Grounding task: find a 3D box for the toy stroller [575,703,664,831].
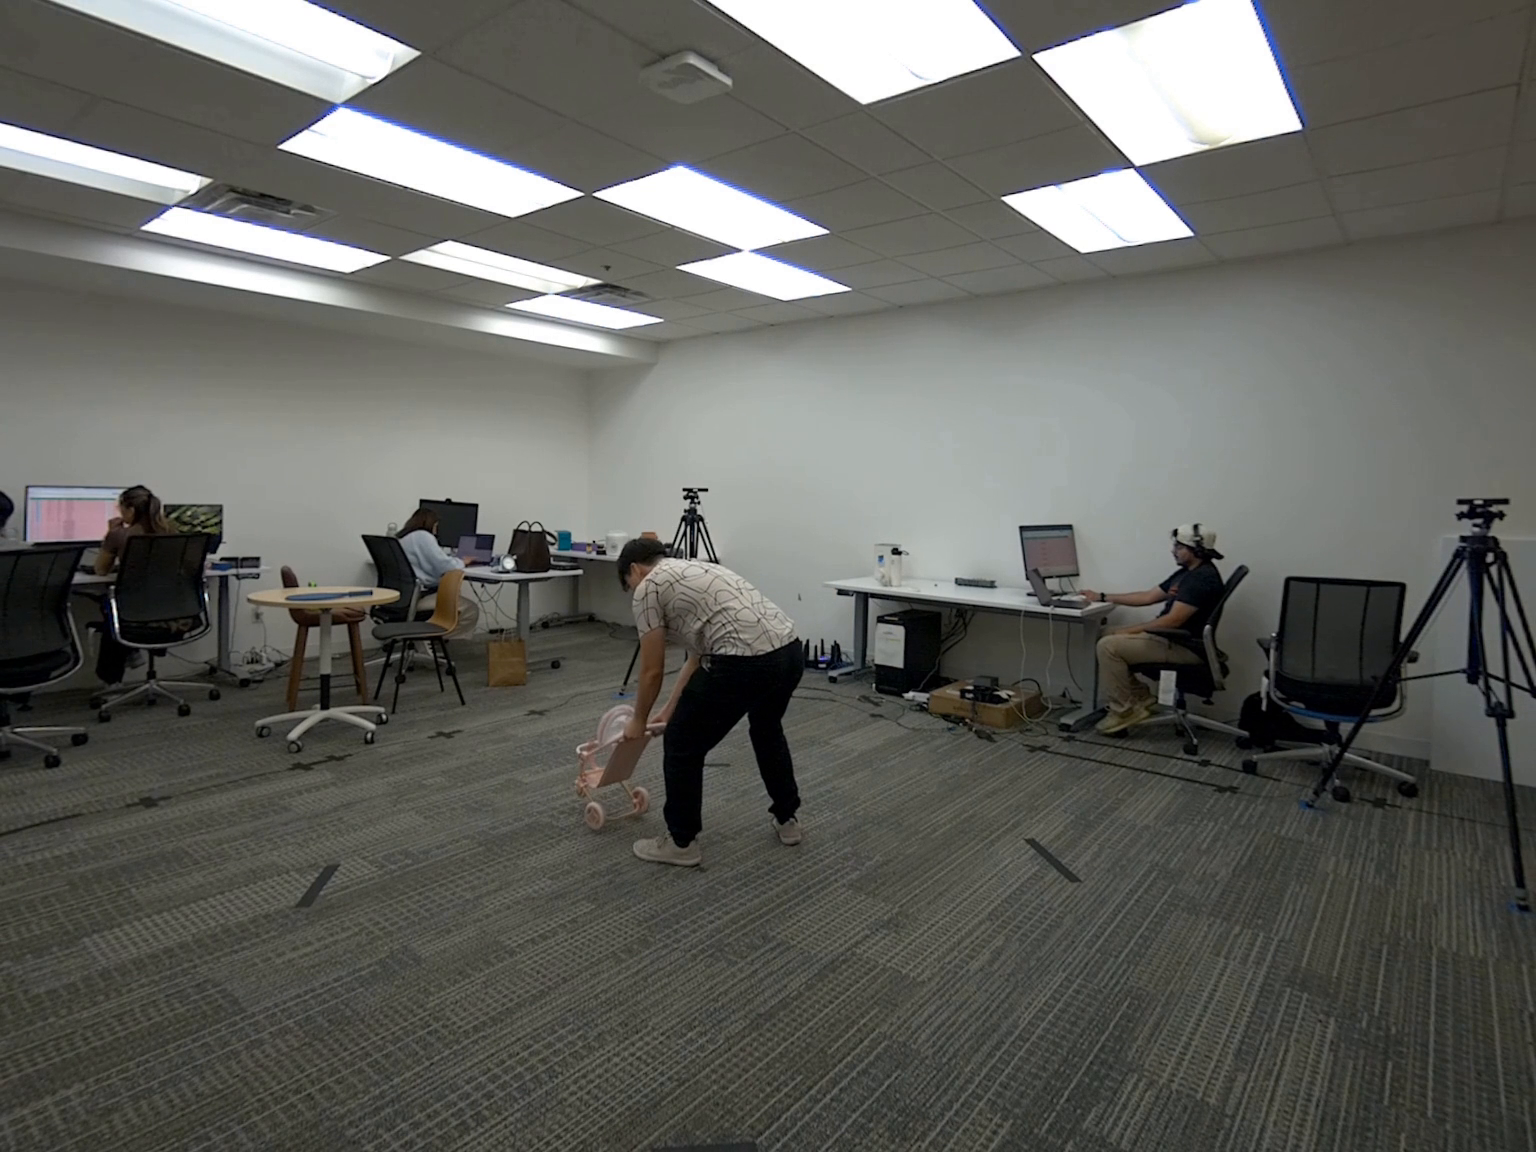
[{"bbox_3d":[-0.656,0.761,3.536,0.272,0.530,0.356,0,24,-46],"label":"toy stroller"}]
